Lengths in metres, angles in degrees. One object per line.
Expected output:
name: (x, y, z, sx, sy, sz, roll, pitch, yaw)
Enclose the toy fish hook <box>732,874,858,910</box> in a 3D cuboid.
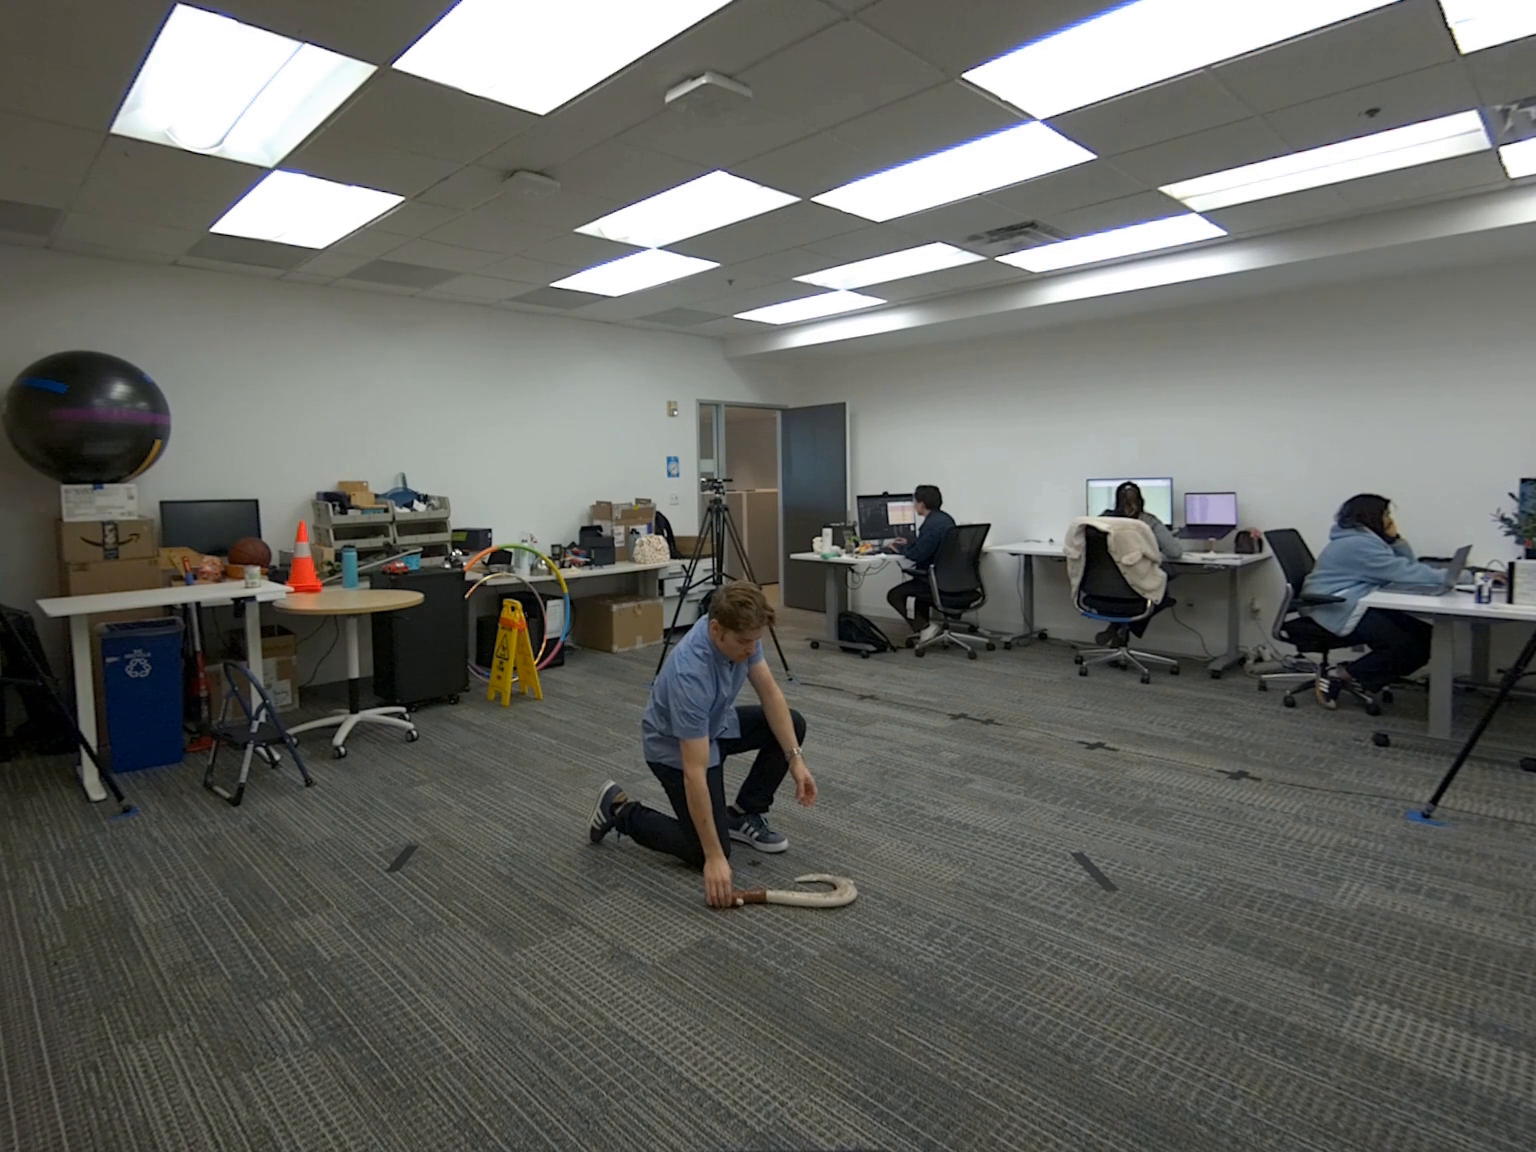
toy fish hook: (0.042, 1.049, 2.866, 0.506, 0.048, 0.224, 0, -1, -2)
